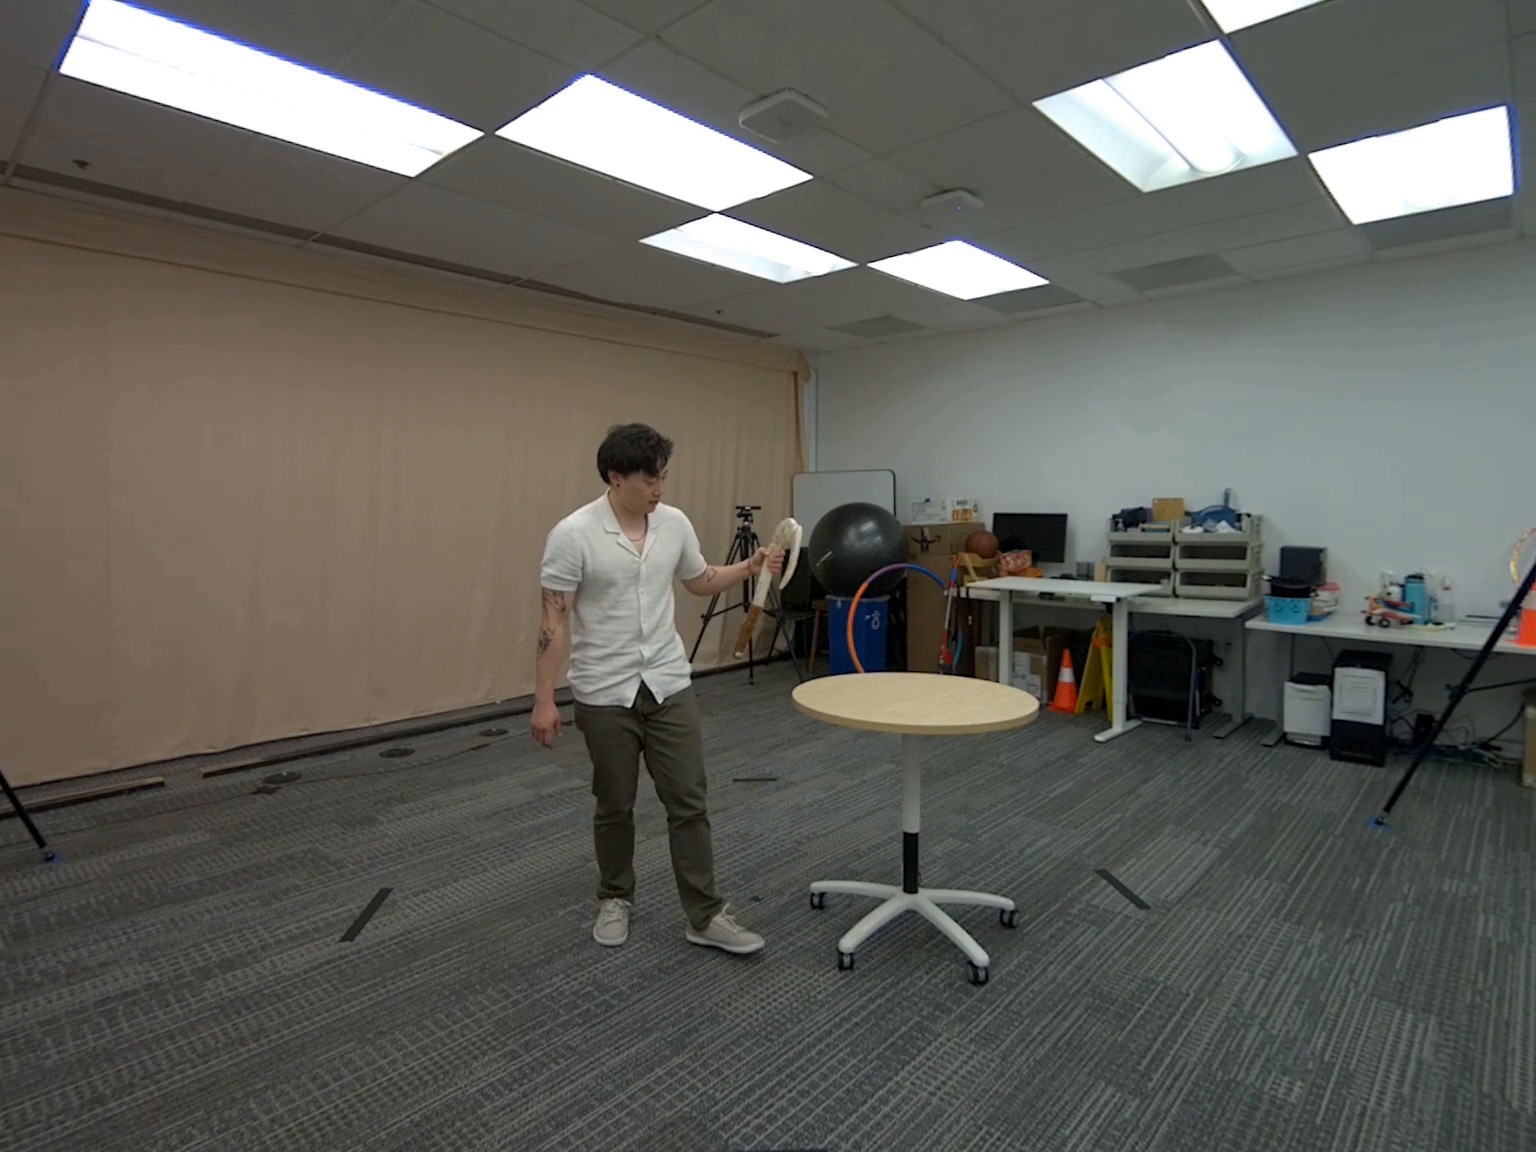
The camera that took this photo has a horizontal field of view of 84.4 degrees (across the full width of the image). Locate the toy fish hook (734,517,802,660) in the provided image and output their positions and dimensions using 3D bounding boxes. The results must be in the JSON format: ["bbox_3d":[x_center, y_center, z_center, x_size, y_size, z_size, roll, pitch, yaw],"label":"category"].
[{"bbox_3d":[0.010,0.072,2.654,0.047,0.505,0.230,15,16,-19],"label":"toy fish hook"}]
